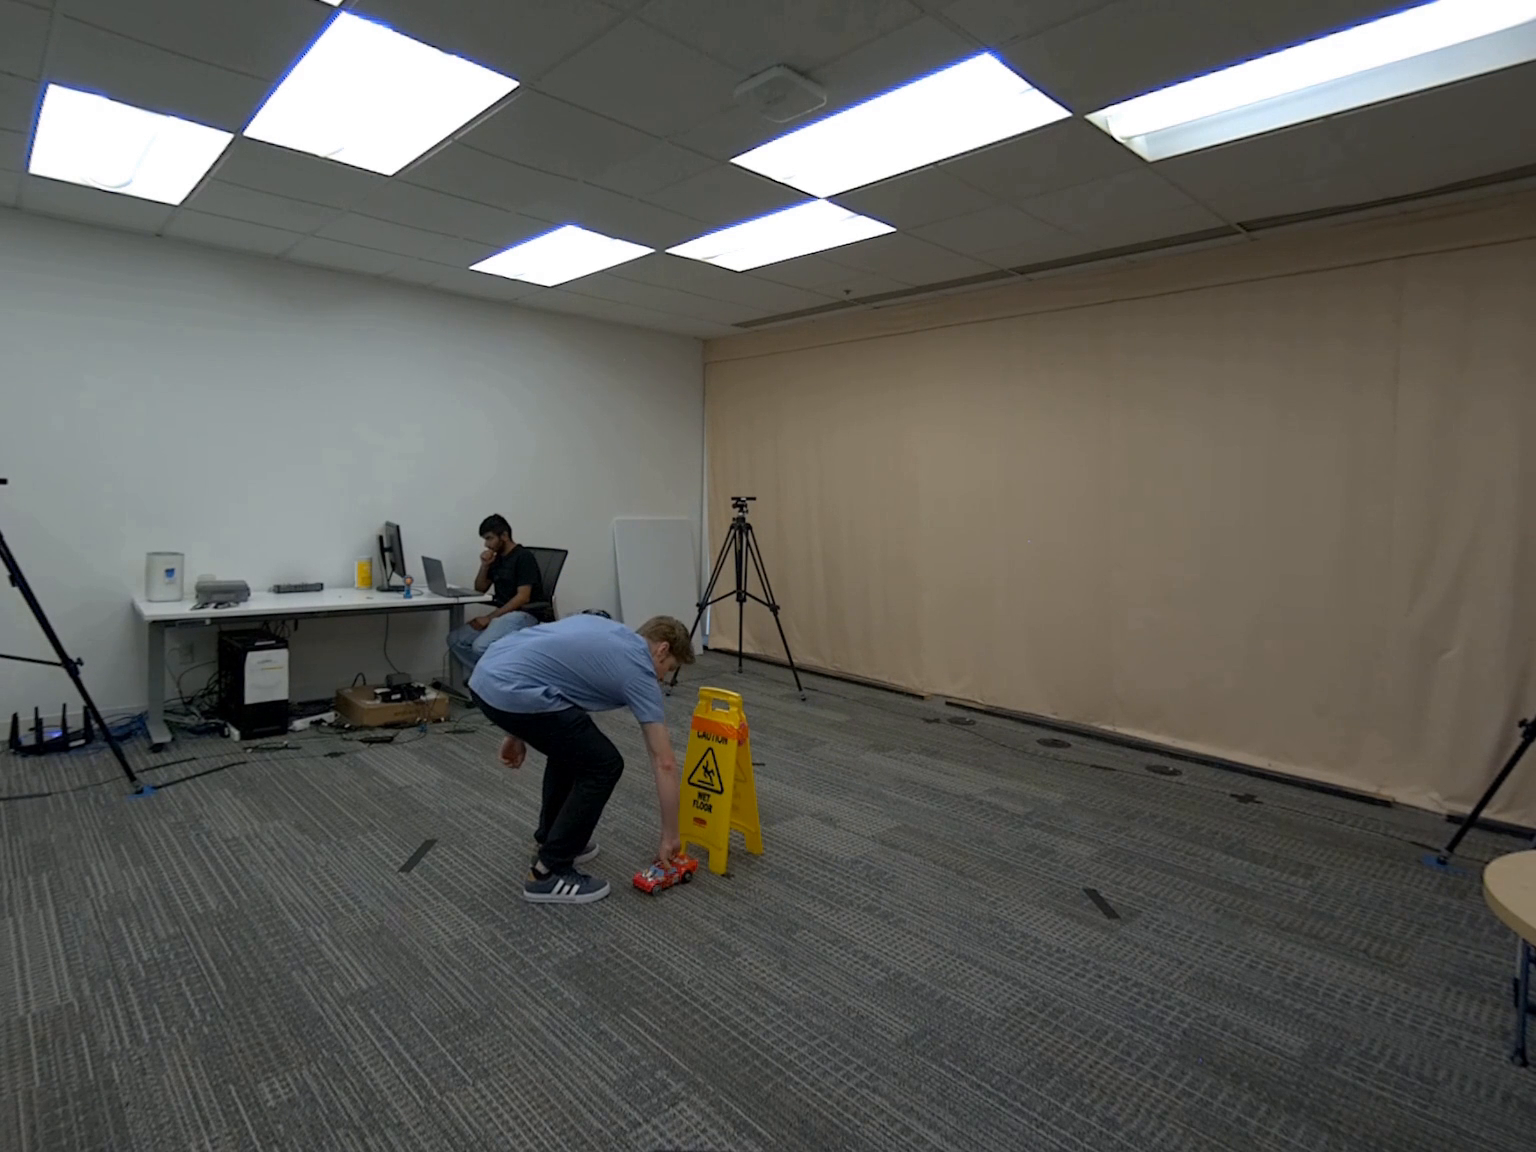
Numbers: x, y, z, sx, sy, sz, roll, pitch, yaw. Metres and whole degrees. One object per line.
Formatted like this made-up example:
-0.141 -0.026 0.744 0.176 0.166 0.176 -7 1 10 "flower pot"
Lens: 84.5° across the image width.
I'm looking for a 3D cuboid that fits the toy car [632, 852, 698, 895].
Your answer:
-0.374 1.078 3.034 0.133 0.082 0.250 5 16 42 "toy car"
